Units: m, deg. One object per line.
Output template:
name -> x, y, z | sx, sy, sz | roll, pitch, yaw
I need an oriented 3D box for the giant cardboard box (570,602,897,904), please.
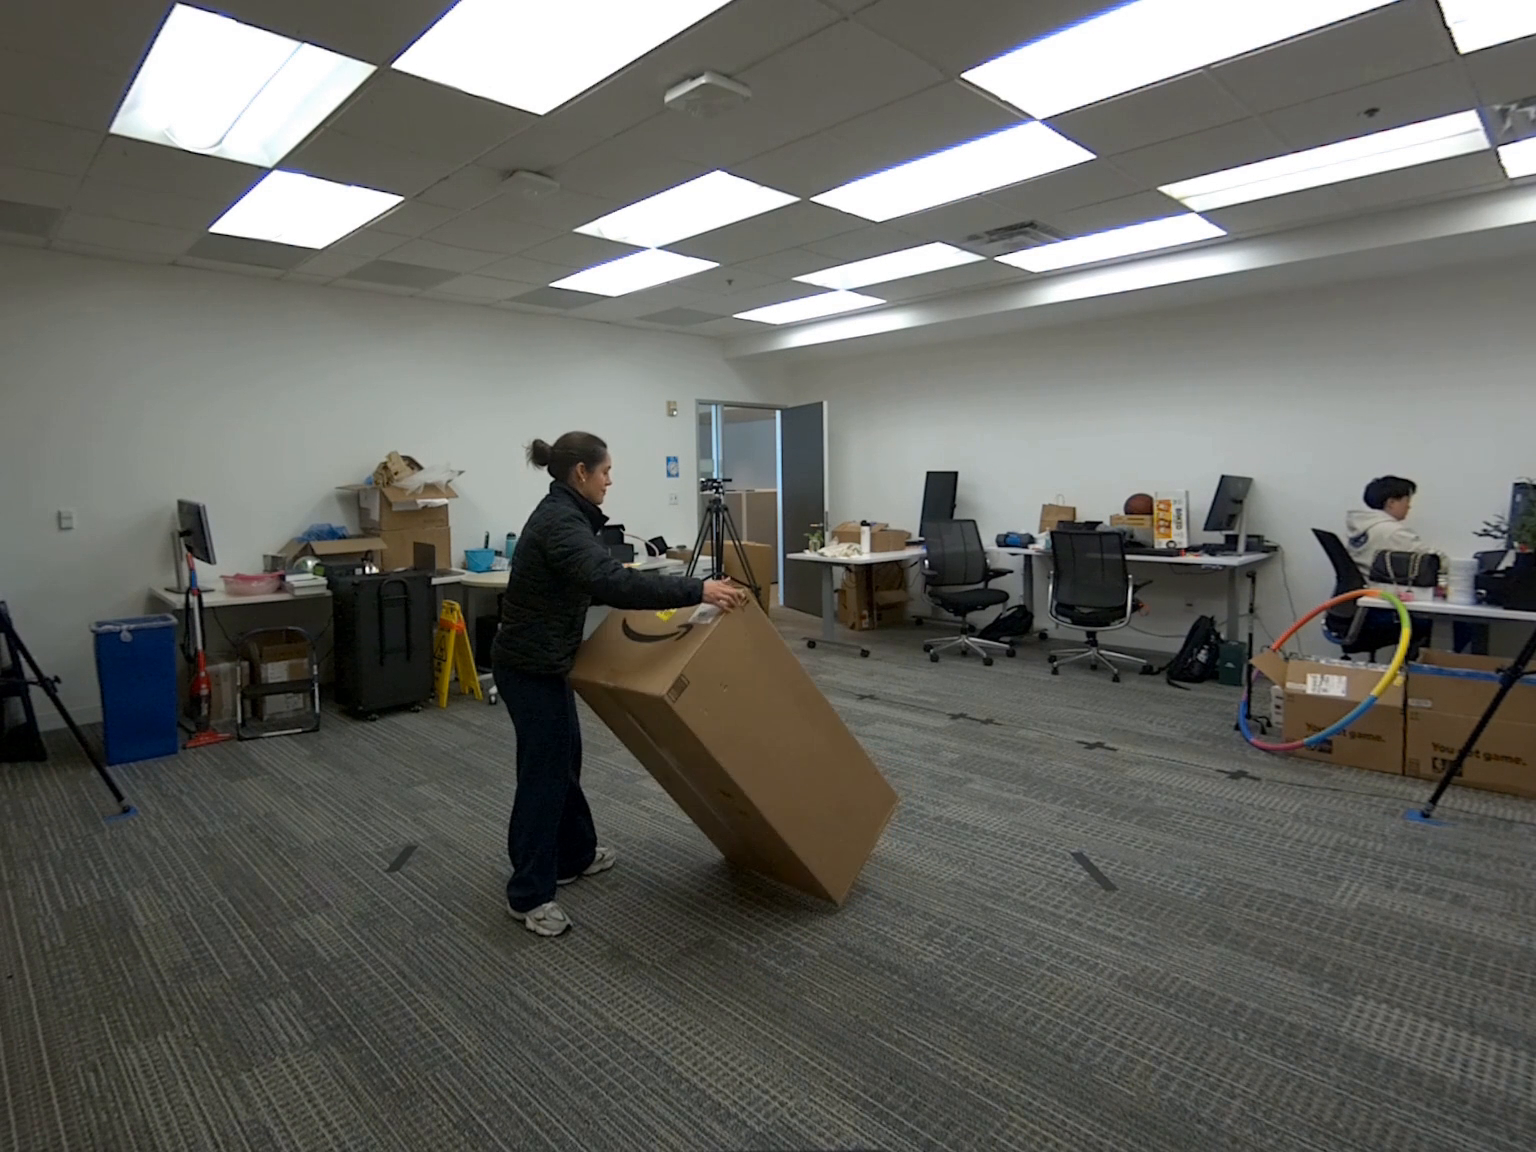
giant cardboard box -> -0.100, 0.540, 2.849 | 0.594, 0.995, 0.427 | -1, 42, 49
